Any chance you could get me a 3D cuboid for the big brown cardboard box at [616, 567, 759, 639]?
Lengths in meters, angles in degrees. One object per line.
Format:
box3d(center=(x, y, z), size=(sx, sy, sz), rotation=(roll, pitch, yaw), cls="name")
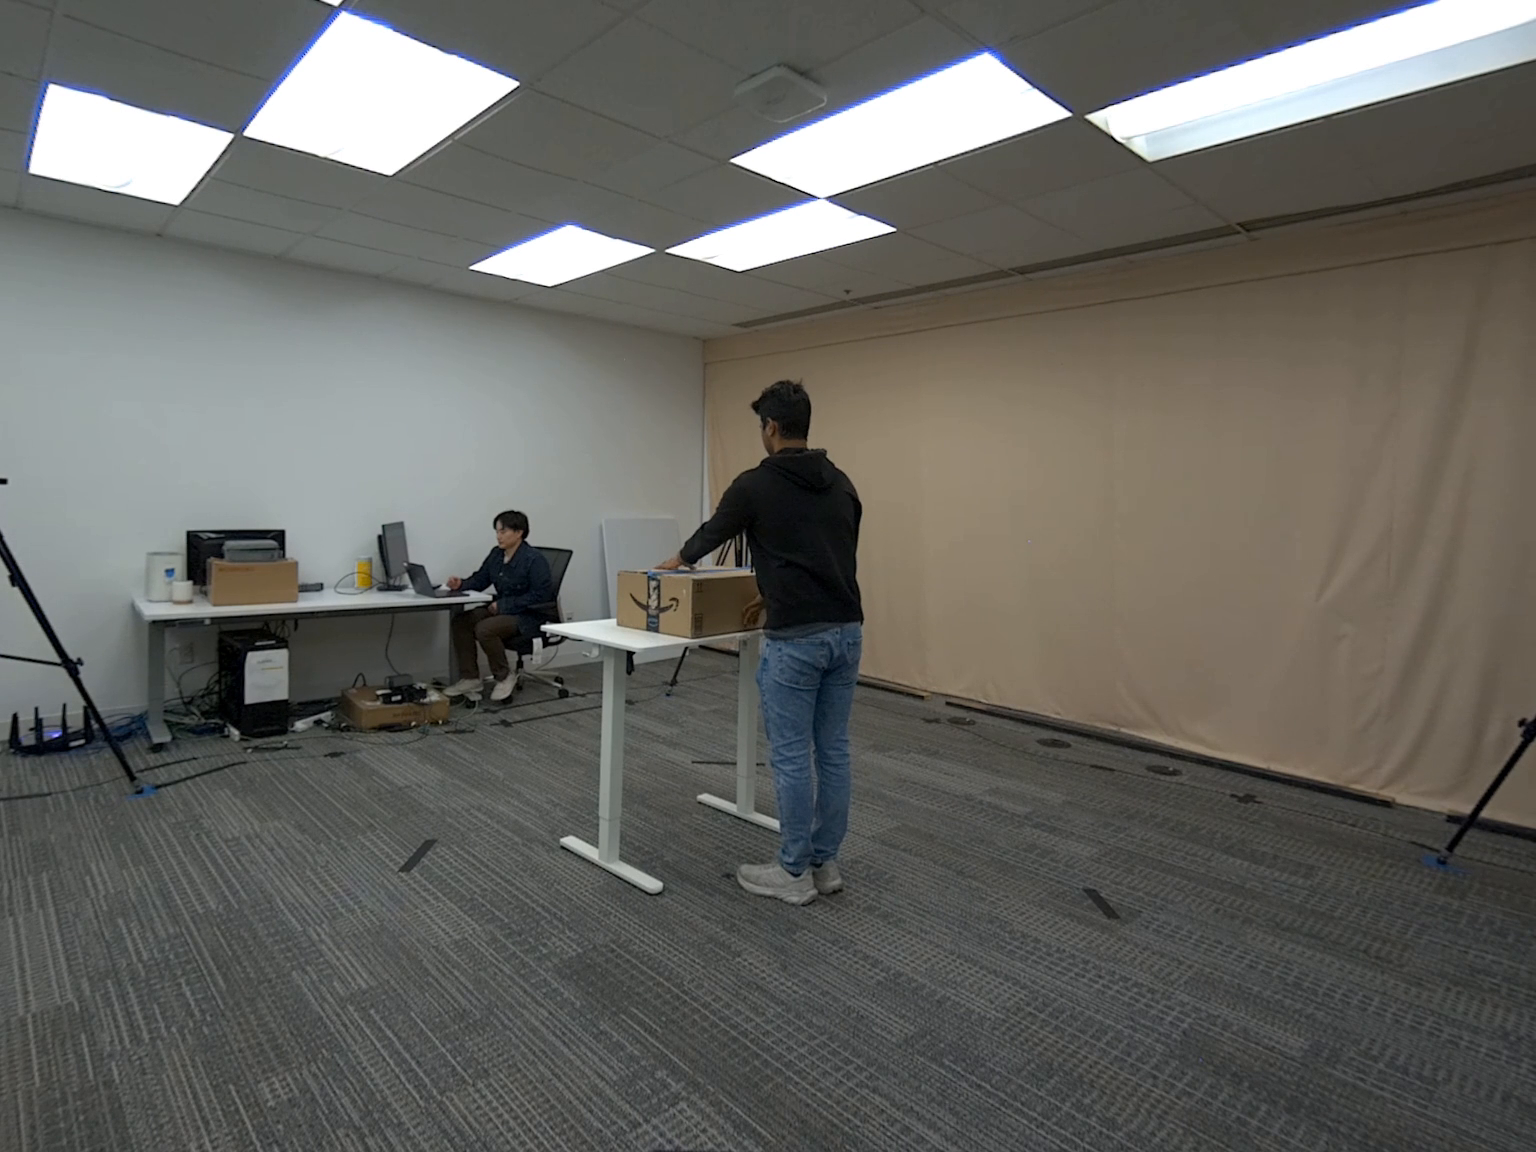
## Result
box3d(center=(-0.258, 0.088, 3.358), size=(0.428, 0.232, 0.576), rotation=(5, 6, 40), cls="big brown cardboard box")
